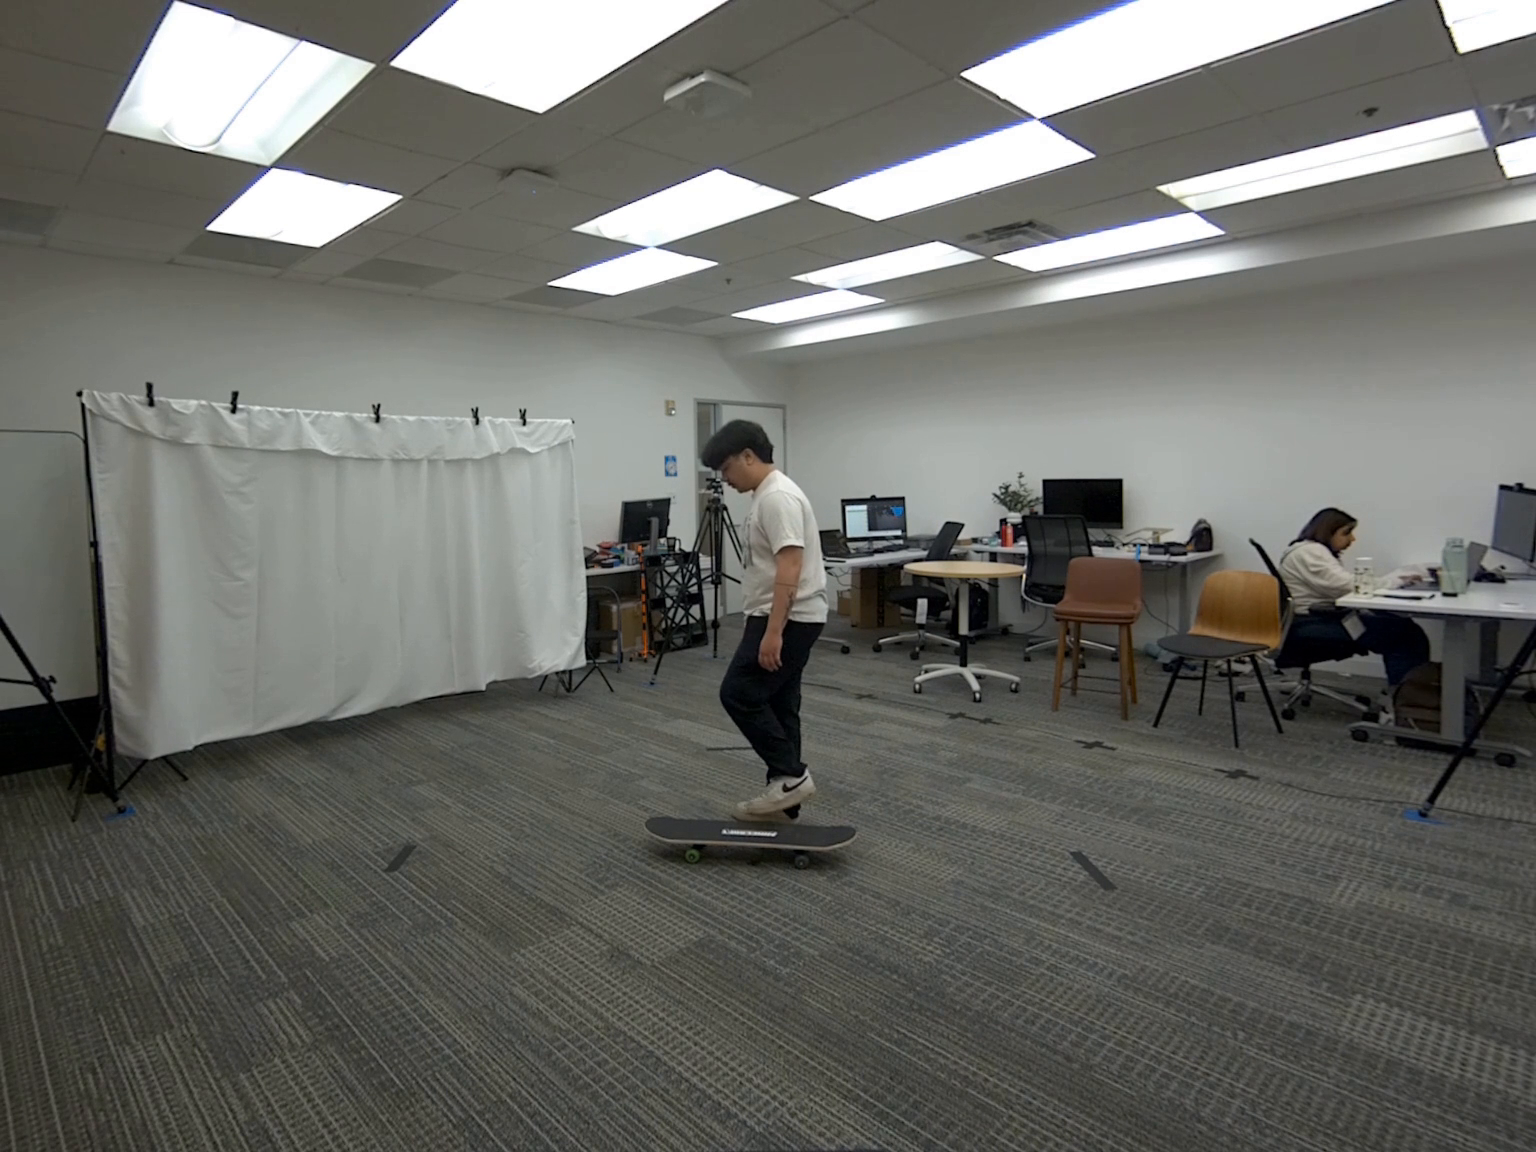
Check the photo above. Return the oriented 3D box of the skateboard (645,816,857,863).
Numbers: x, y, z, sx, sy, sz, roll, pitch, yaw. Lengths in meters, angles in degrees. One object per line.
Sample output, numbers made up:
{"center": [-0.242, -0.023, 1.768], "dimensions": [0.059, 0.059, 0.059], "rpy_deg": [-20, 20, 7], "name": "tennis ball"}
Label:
{"center": [-0.067, 0.977, 3.158], "dimensions": [0.792, 0.110, 0.192], "rpy_deg": [0, 6, 9], "name": "skateboard"}
